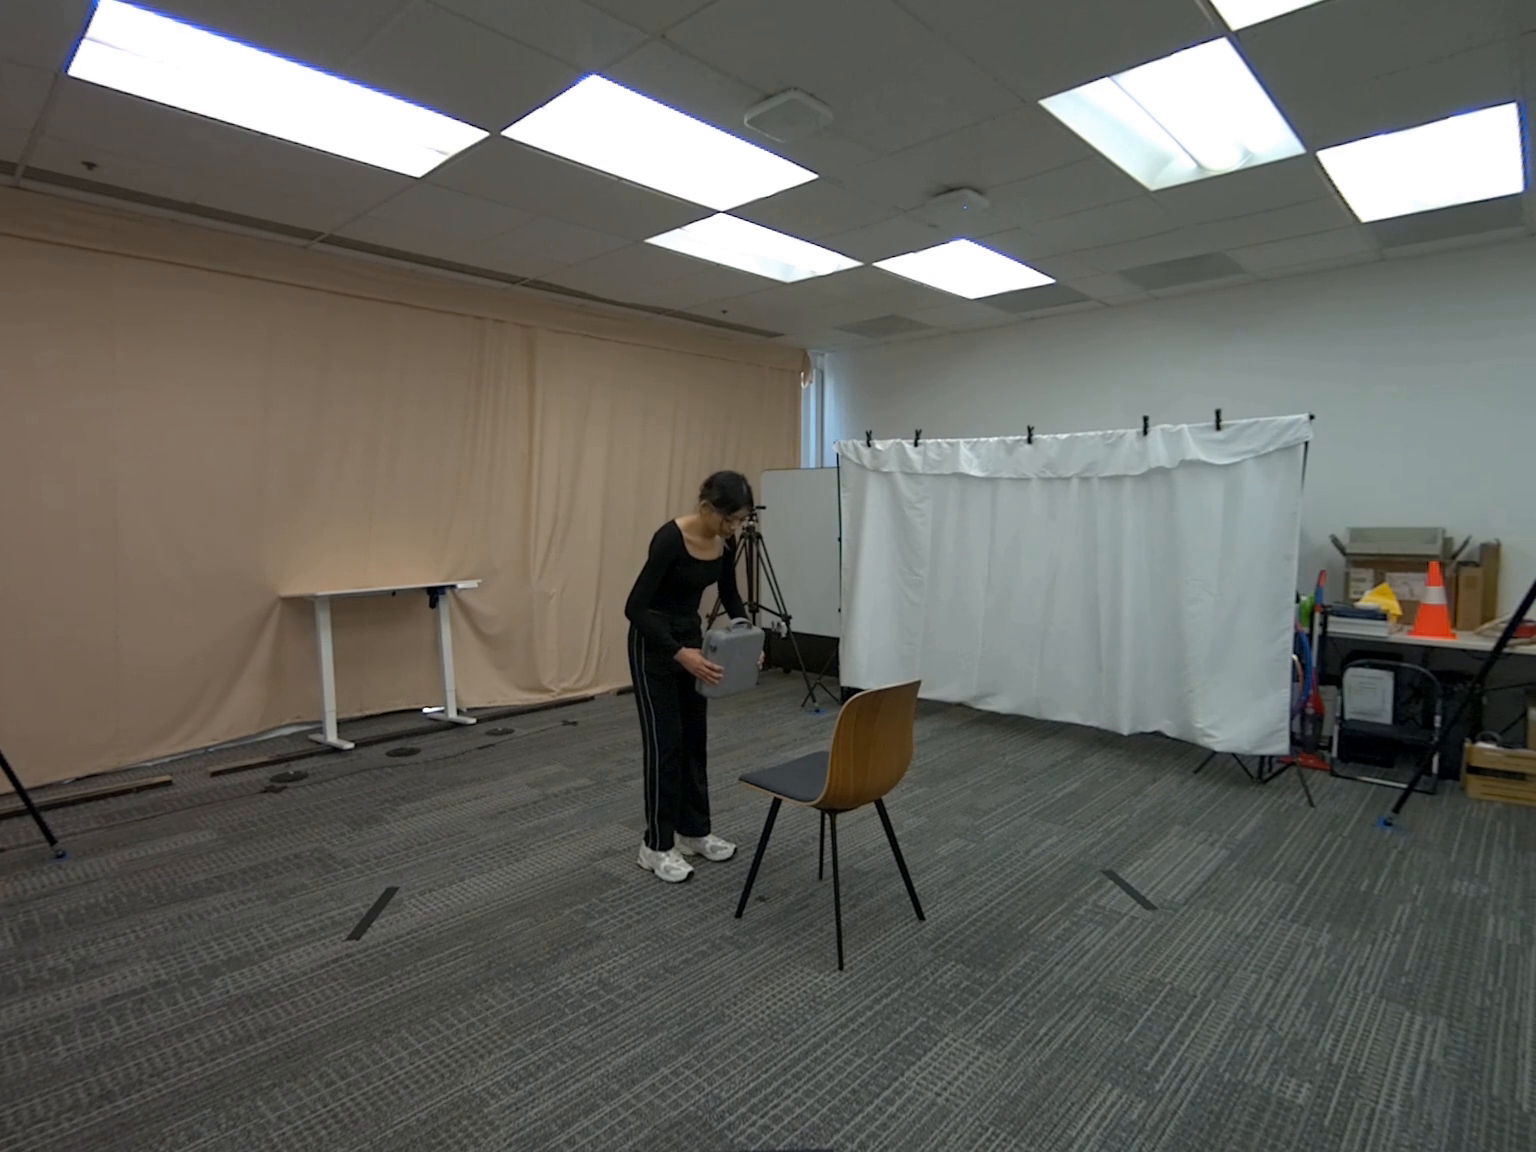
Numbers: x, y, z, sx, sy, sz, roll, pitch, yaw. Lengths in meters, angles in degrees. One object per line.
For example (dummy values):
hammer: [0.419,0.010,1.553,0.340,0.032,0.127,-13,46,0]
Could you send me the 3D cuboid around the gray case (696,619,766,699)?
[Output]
gray case: [-0.136,0.310,3.116,0.108,0.259,0.249,21,16,37]
